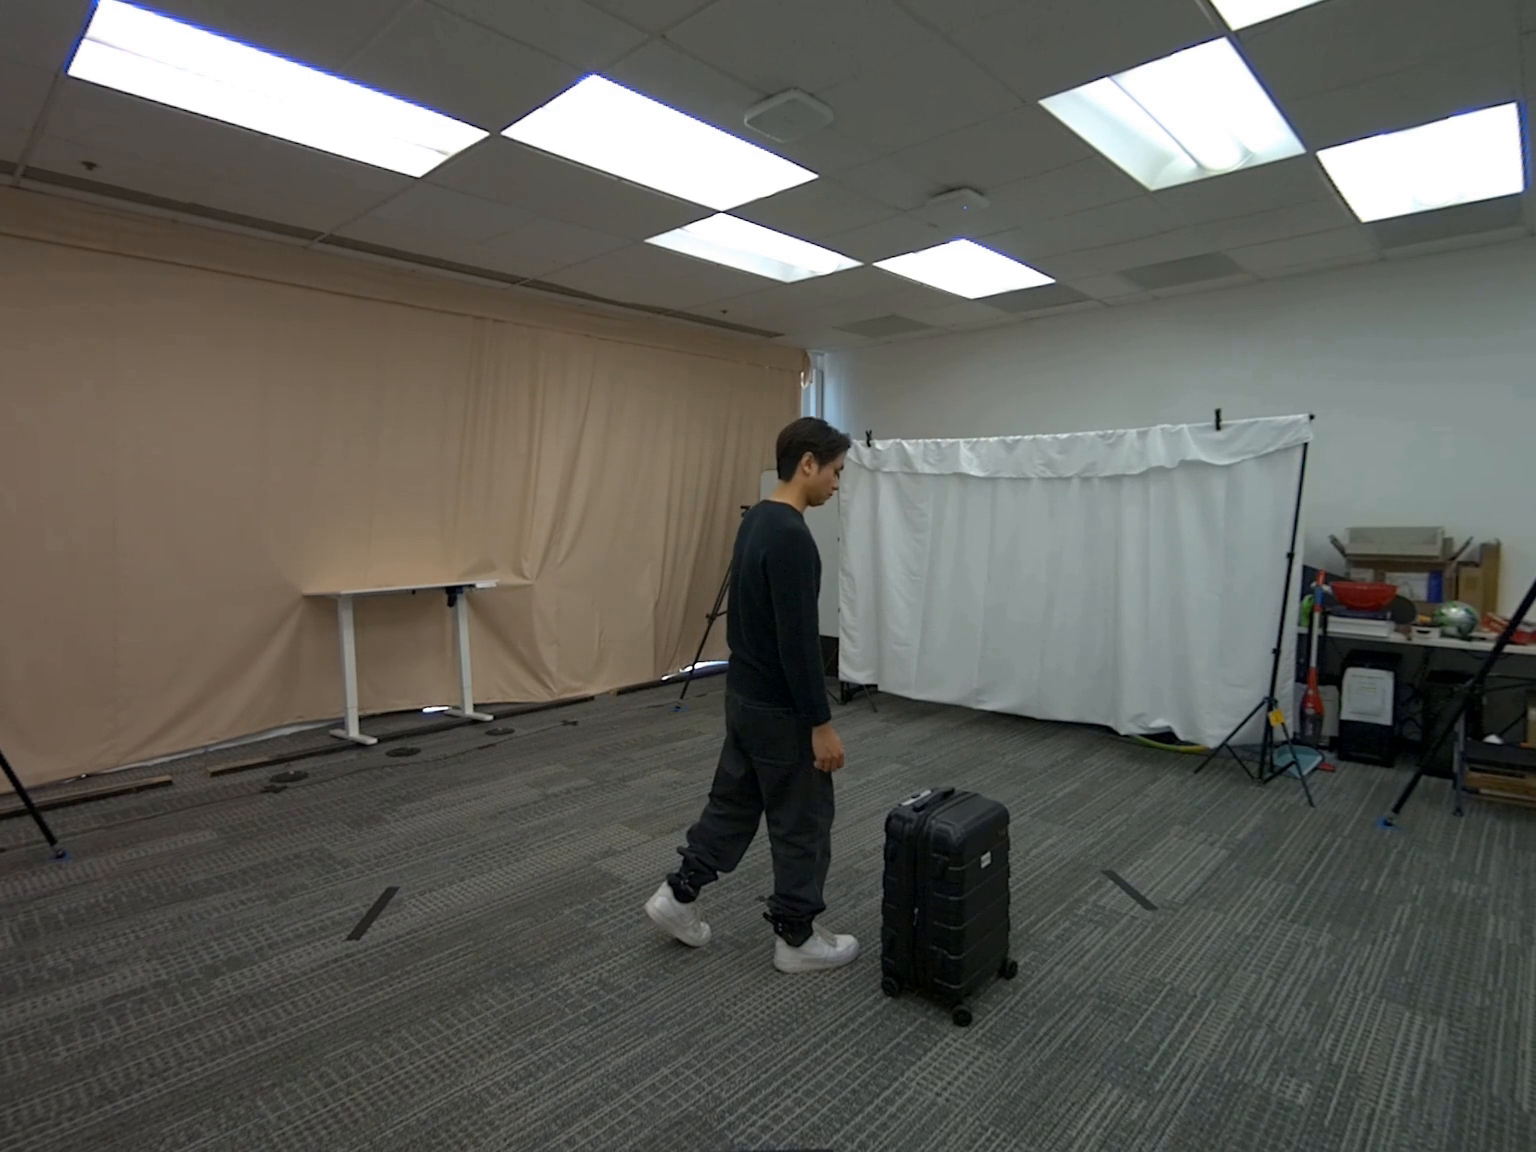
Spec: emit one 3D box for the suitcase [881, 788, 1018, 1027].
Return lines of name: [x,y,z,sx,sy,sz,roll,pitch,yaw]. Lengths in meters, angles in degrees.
suitcase: [0.527,0.917,2.425,0.256,0.548,0.364,3,5,42]
